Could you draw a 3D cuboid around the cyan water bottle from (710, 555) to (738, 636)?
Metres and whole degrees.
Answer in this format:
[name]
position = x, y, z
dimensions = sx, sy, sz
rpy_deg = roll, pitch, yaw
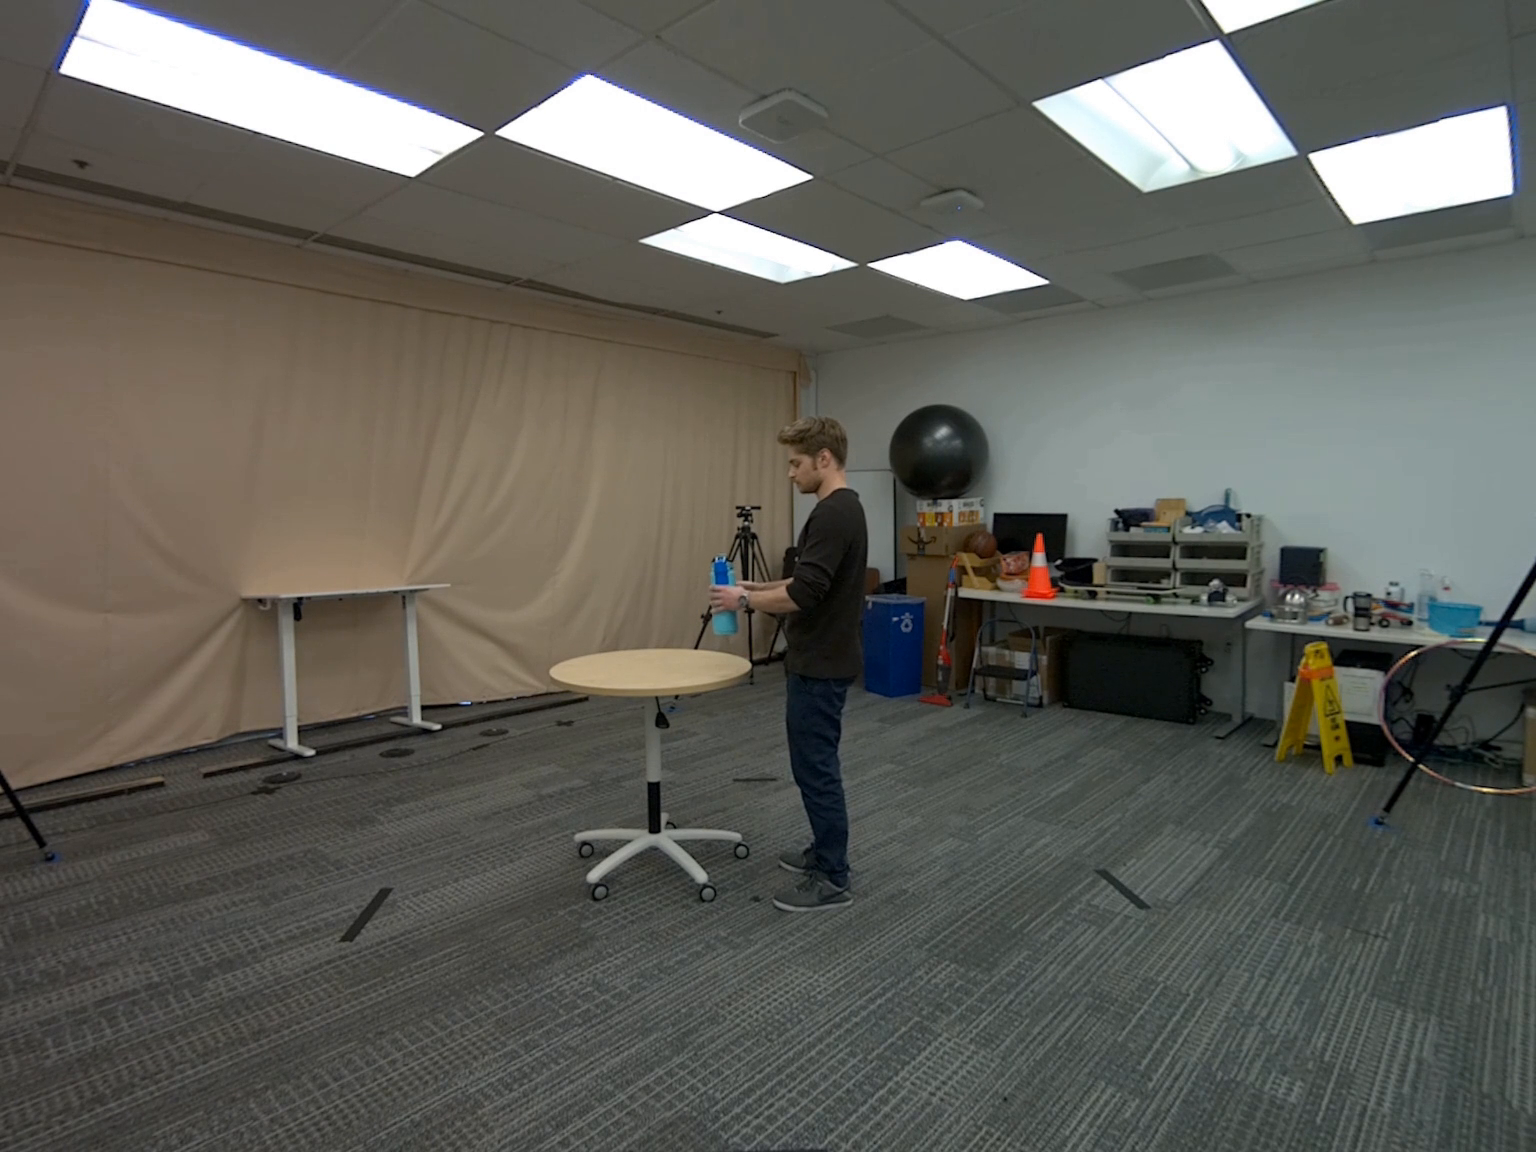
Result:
[cyan water bottle]
position = -0.154, 0.065, 3.022
dimensions = 0.092, 0.283, 0.092
rpy_deg = -3, 2, -2
